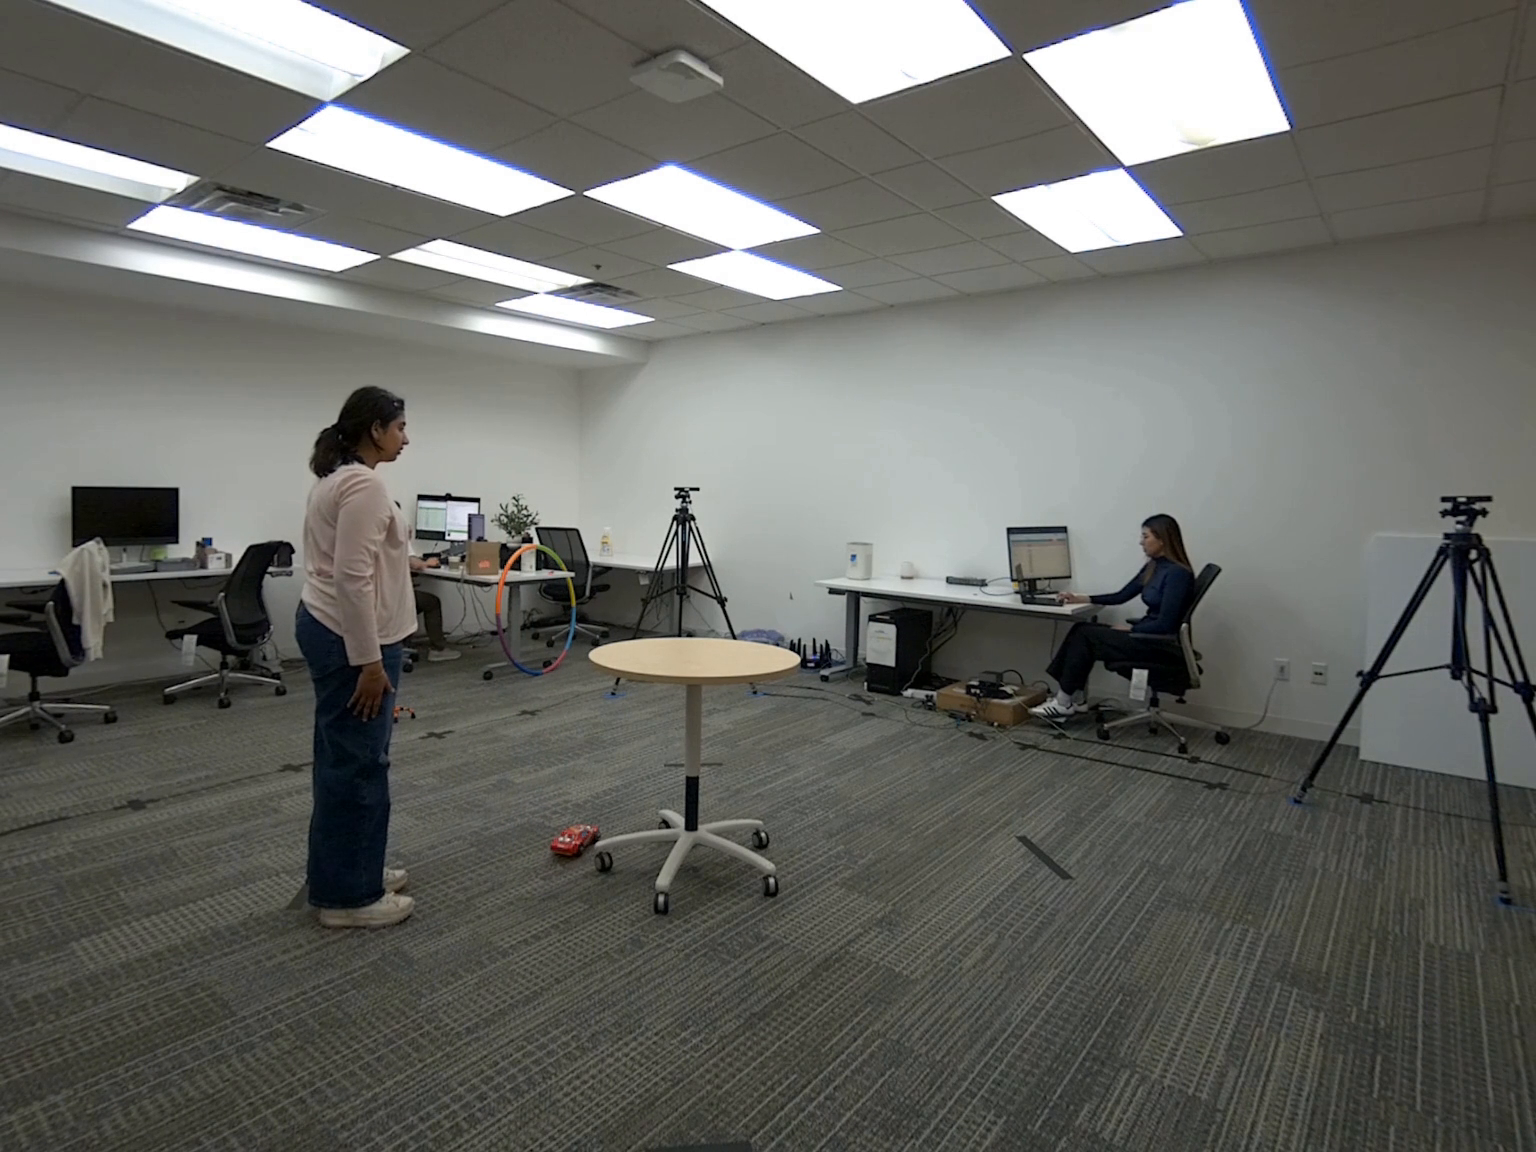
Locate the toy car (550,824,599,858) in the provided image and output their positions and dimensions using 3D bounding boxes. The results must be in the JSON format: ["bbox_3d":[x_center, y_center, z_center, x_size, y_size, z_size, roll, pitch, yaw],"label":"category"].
[{"bbox_3d":[-0.753,1.008,3.258,0.133,0.084,0.248,3,-5,15],"label":"toy car"}]
